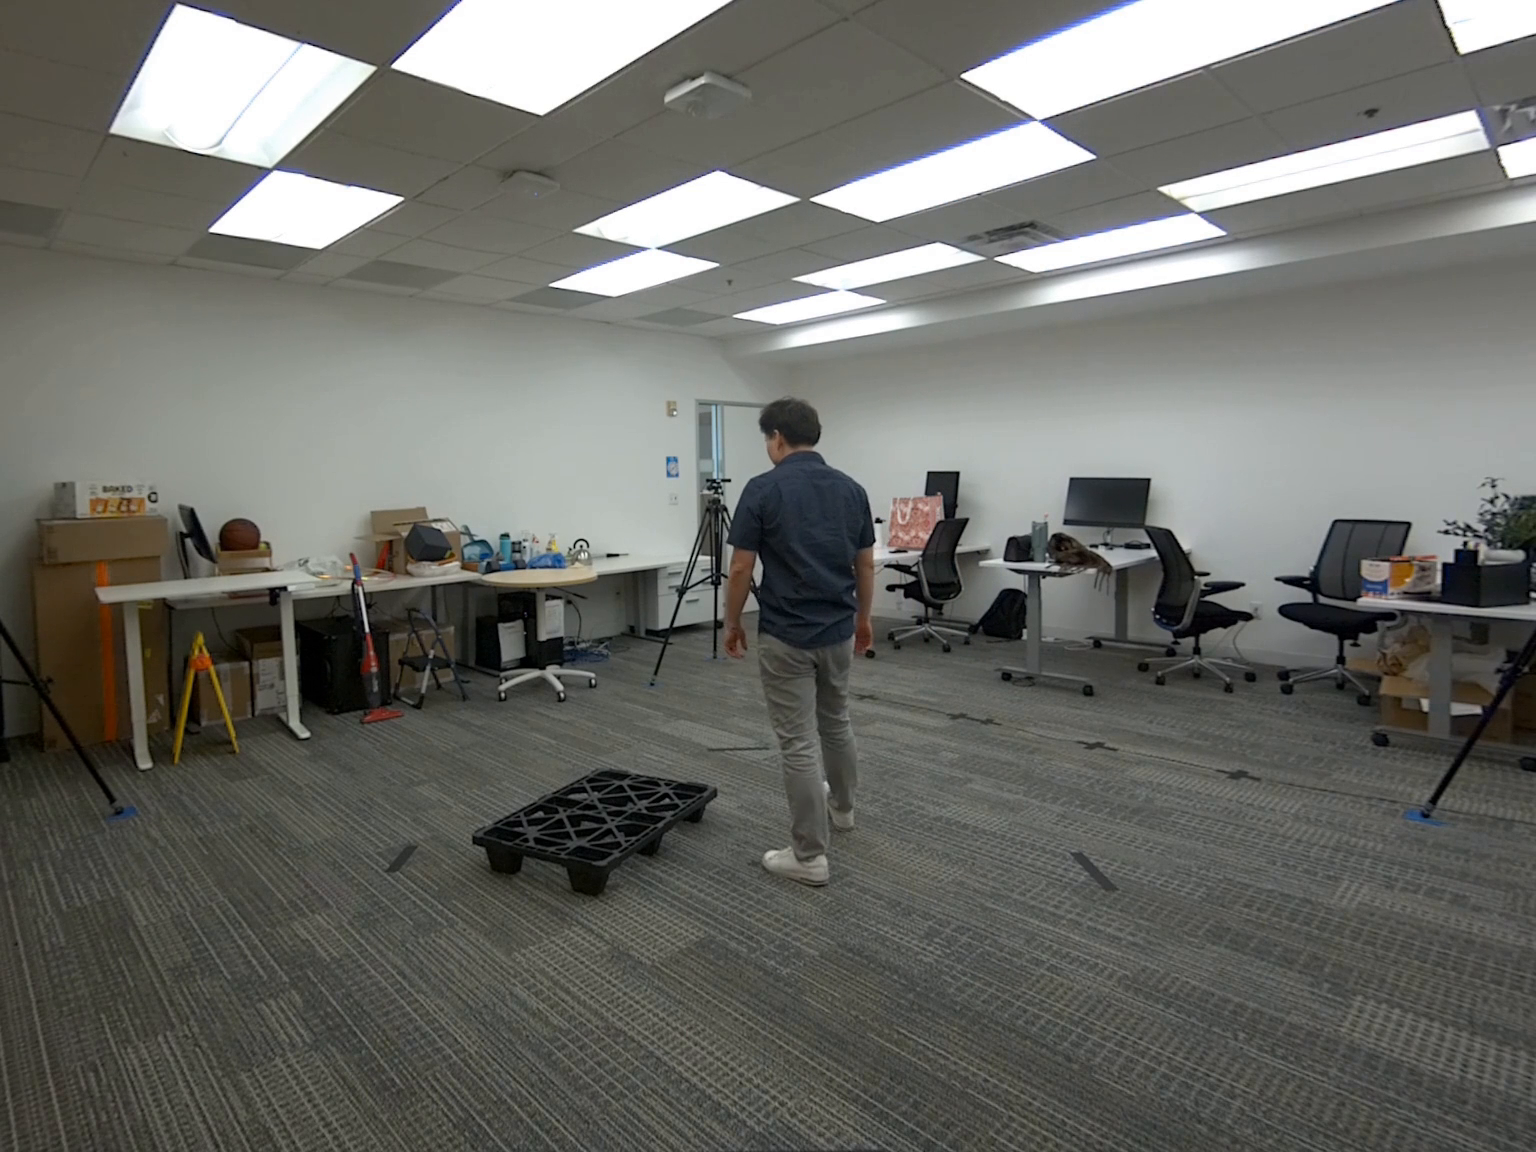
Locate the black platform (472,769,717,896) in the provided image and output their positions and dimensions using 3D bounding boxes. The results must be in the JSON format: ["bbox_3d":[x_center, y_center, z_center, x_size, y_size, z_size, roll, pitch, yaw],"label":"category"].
[{"bbox_3d":[-0.628,0.964,3.303,0.620,0.142,0.790,2,7,26],"label":"black platform"}]
